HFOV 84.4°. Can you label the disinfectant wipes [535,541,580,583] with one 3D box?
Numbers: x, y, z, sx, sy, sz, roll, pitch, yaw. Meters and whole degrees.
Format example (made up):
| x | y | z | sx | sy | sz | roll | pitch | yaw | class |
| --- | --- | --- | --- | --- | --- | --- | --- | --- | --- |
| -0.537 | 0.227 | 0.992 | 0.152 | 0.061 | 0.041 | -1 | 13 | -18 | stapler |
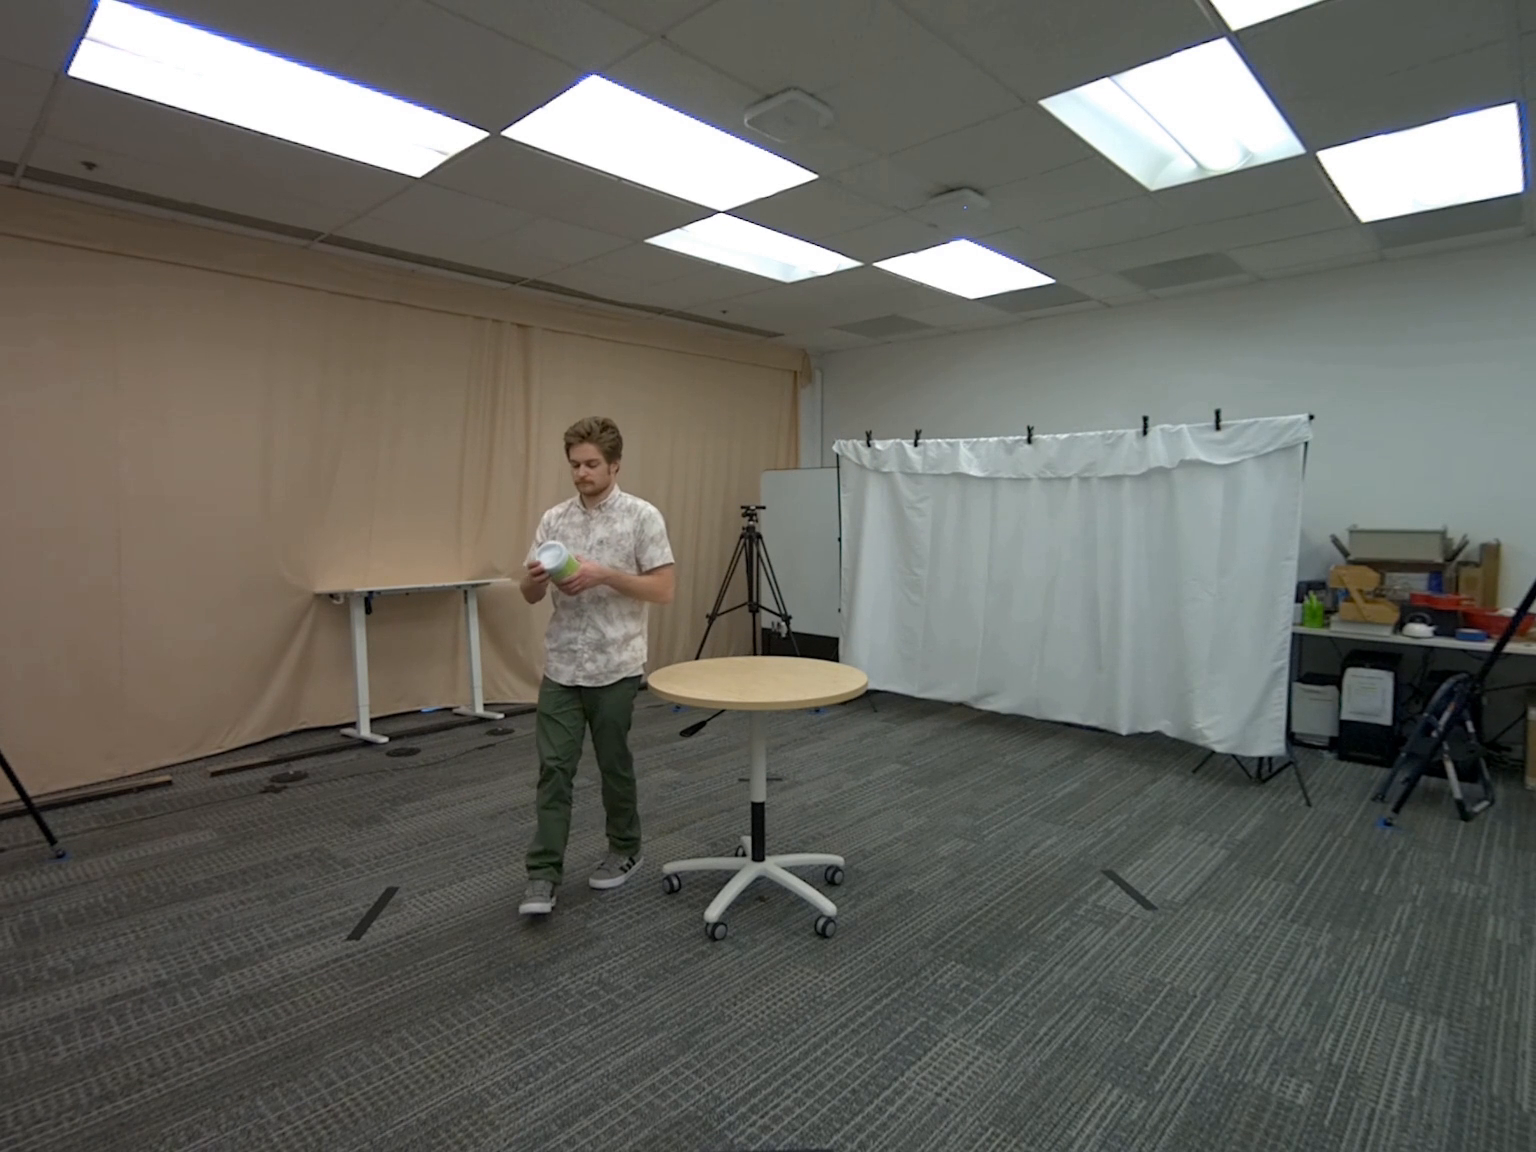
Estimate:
| x | y | z | sx | sy | sz | roll | pitch | yaw | class |
| --- | --- | --- | --- | --- | --- | --- | --- | --- | --- |
| -0.684 | -0.025 | 2.818 | 0.119 | 0.119 | 0.212 | 1 | -26 | 11 | disinfectant wipes |
